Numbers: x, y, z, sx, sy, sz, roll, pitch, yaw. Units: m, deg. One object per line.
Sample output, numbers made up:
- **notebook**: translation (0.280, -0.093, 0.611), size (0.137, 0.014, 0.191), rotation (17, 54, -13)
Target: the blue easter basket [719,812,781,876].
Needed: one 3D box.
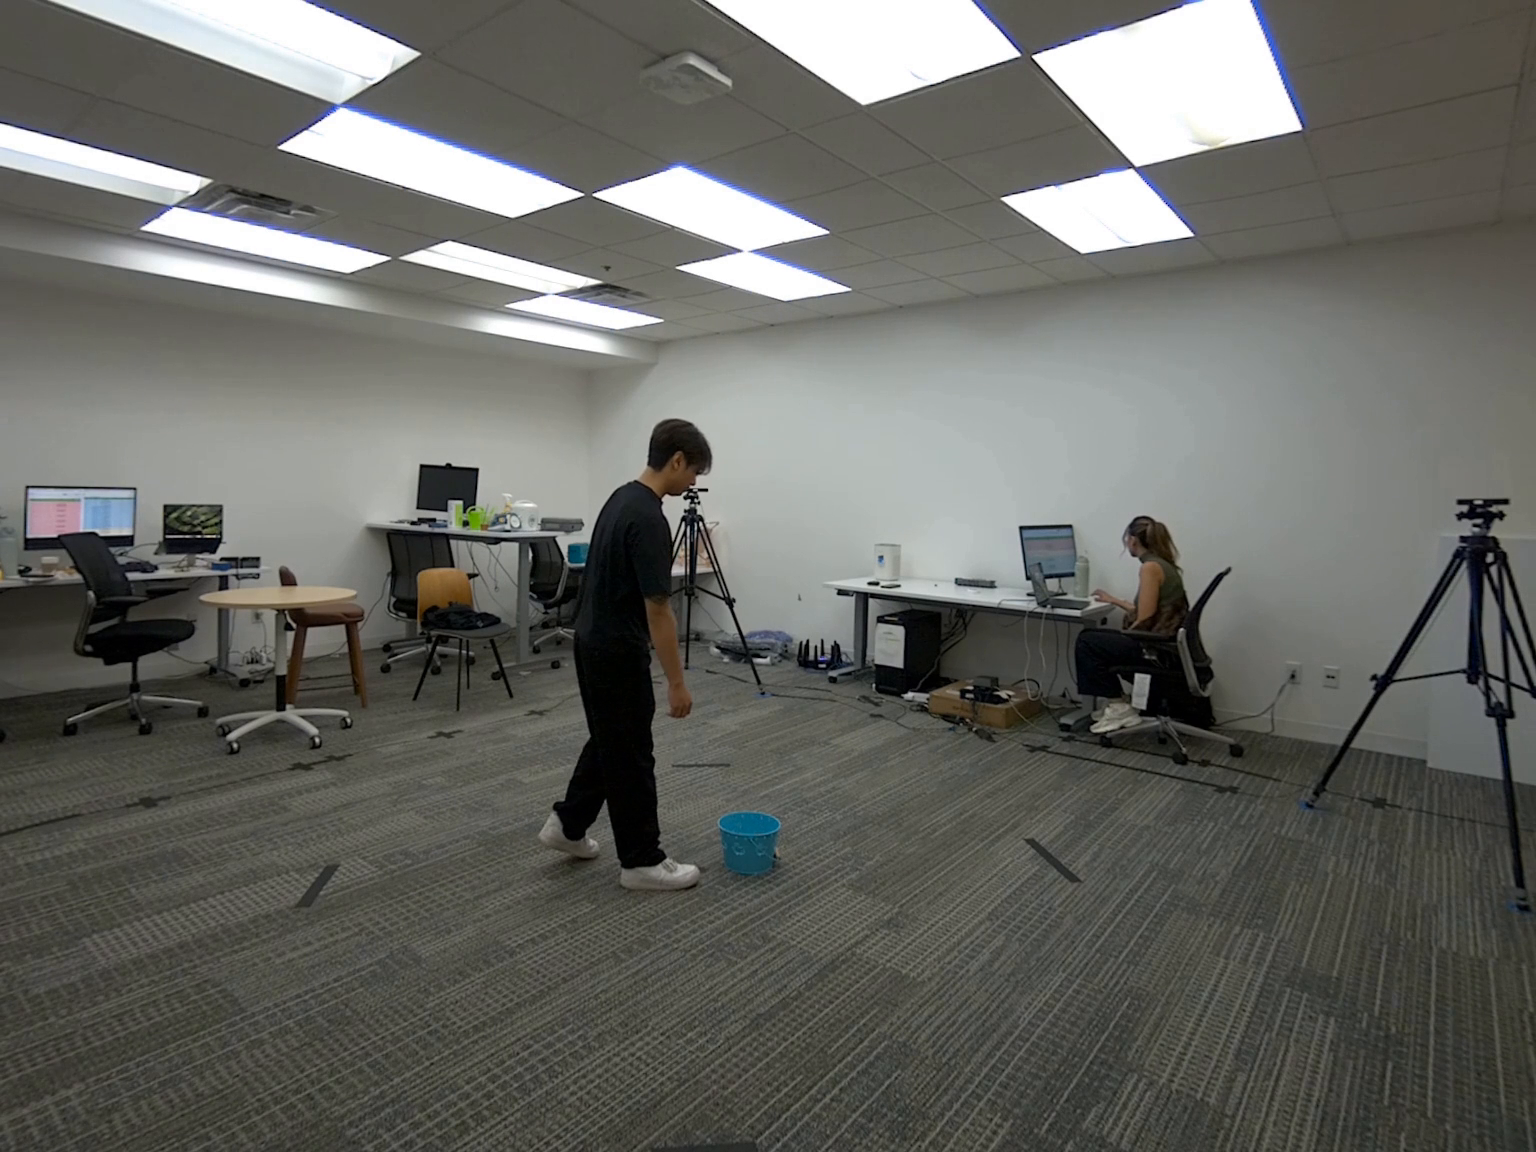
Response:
- **blue easter basket**: translation (-0.076, 0.990, 3.160), size (0.243, 0.155, 0.245), rotation (1, 5, -2)
